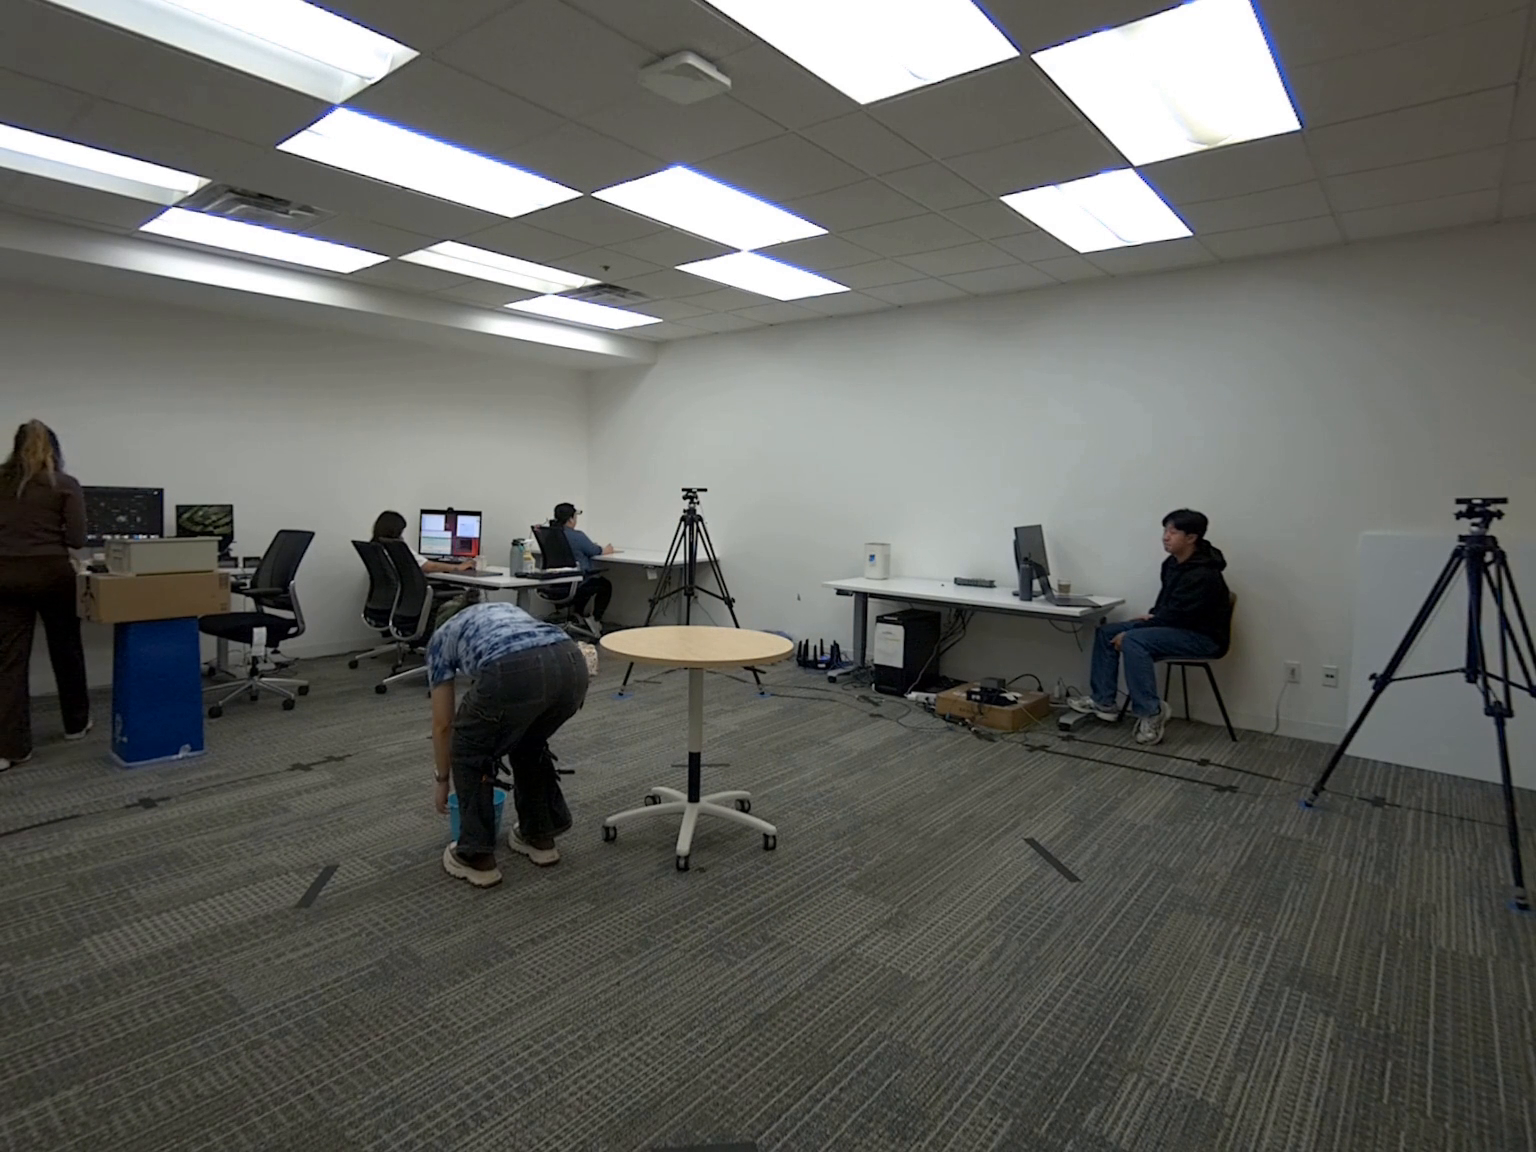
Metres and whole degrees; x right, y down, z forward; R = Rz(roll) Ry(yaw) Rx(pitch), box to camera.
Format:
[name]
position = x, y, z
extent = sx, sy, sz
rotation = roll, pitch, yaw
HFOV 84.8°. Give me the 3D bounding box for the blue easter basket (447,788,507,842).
[blue easter basket]
position = -1.165, 0.946, 3.381
extent = 0.243, 0.155, 0.245
rotation = 1, 5, -2
